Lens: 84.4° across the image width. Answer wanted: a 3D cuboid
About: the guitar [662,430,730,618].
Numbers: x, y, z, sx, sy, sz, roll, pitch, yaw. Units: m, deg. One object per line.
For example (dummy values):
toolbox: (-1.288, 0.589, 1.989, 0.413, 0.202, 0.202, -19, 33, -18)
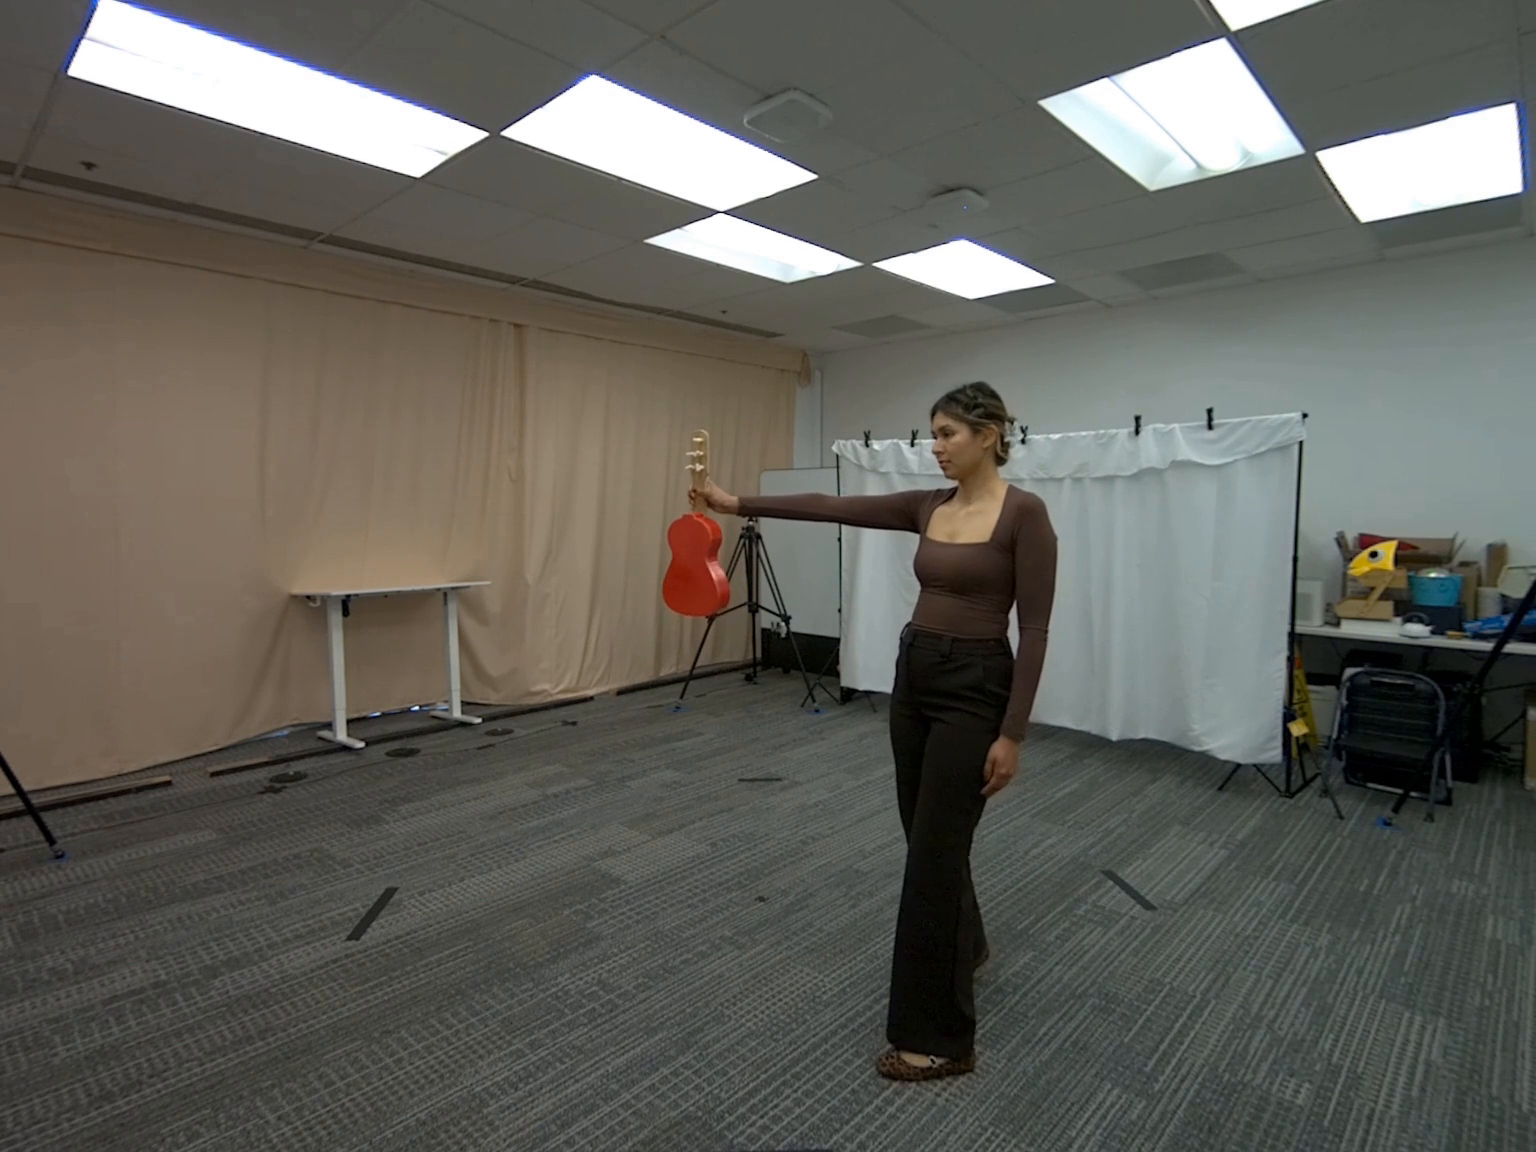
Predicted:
guitar: (-0.215, -0.141, 2.308, 0.198, 0.497, 0.069, -6, 1, 35)
